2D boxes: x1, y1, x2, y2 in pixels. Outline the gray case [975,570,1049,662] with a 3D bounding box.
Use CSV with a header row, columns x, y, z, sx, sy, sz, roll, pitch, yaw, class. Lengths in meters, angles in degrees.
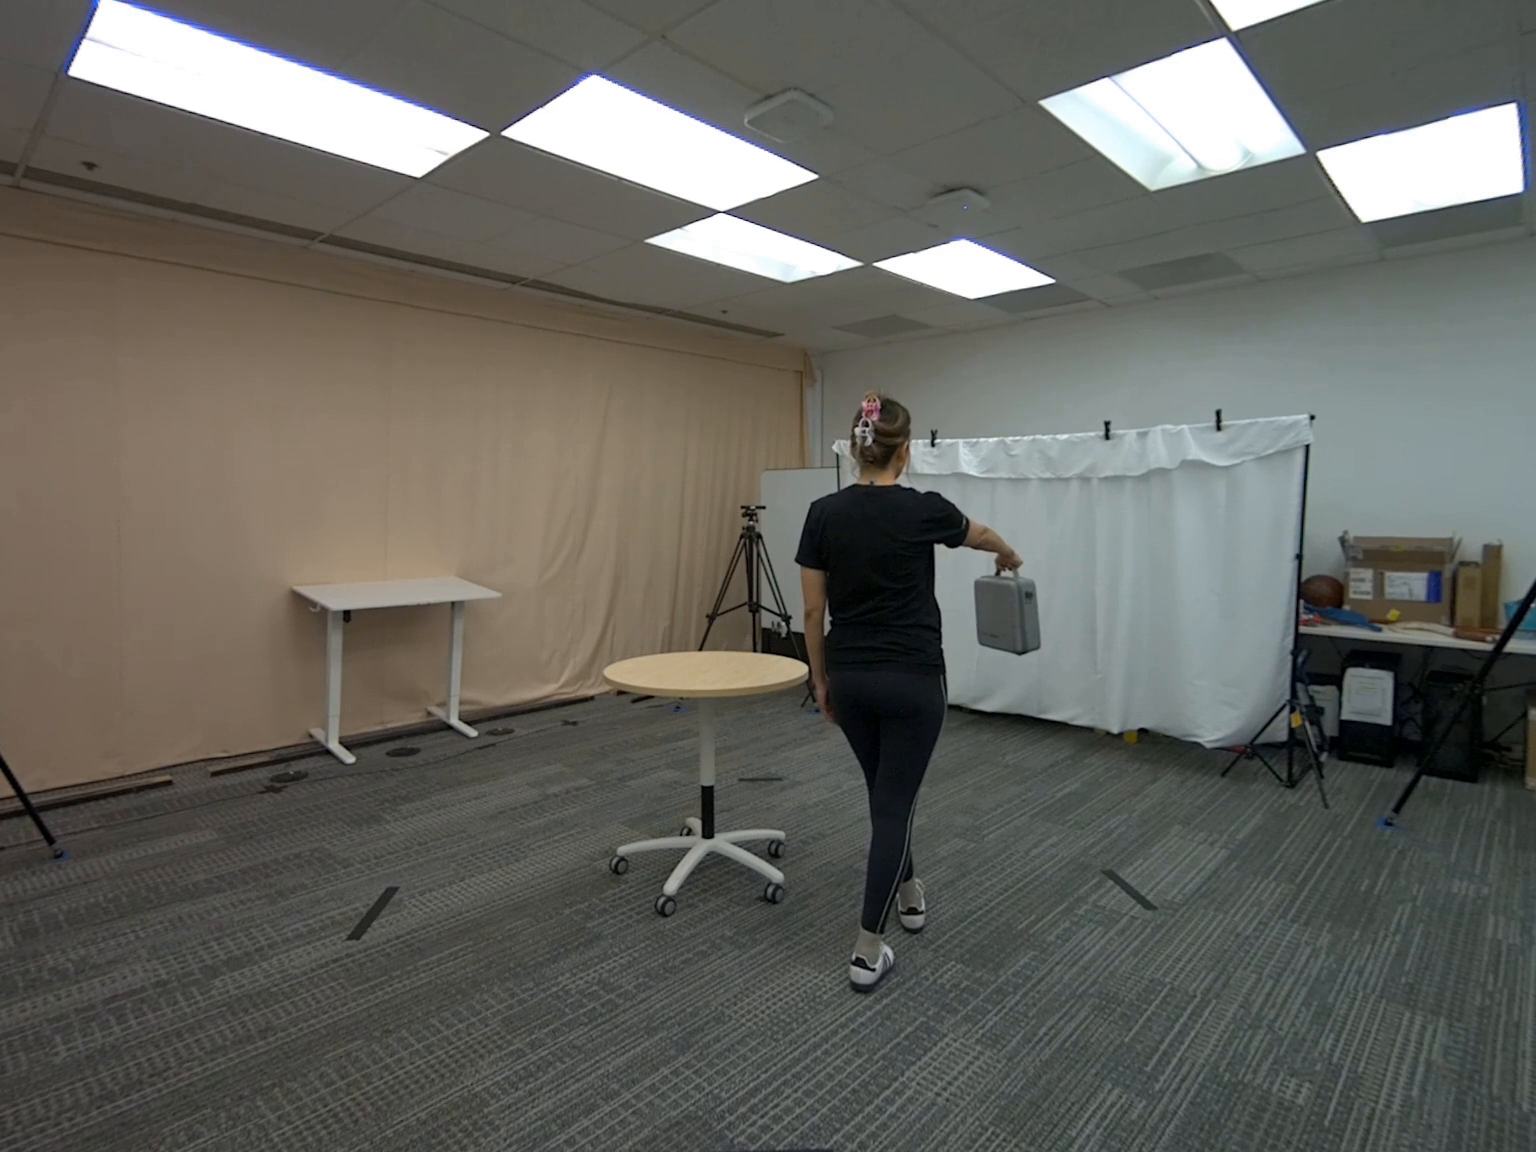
x,y,z,sx,sy,sz,roll,pitch,yaw,class
0.835,0.130,2.922,0.102,0.259,0.262,-5,8,-18,gray case
